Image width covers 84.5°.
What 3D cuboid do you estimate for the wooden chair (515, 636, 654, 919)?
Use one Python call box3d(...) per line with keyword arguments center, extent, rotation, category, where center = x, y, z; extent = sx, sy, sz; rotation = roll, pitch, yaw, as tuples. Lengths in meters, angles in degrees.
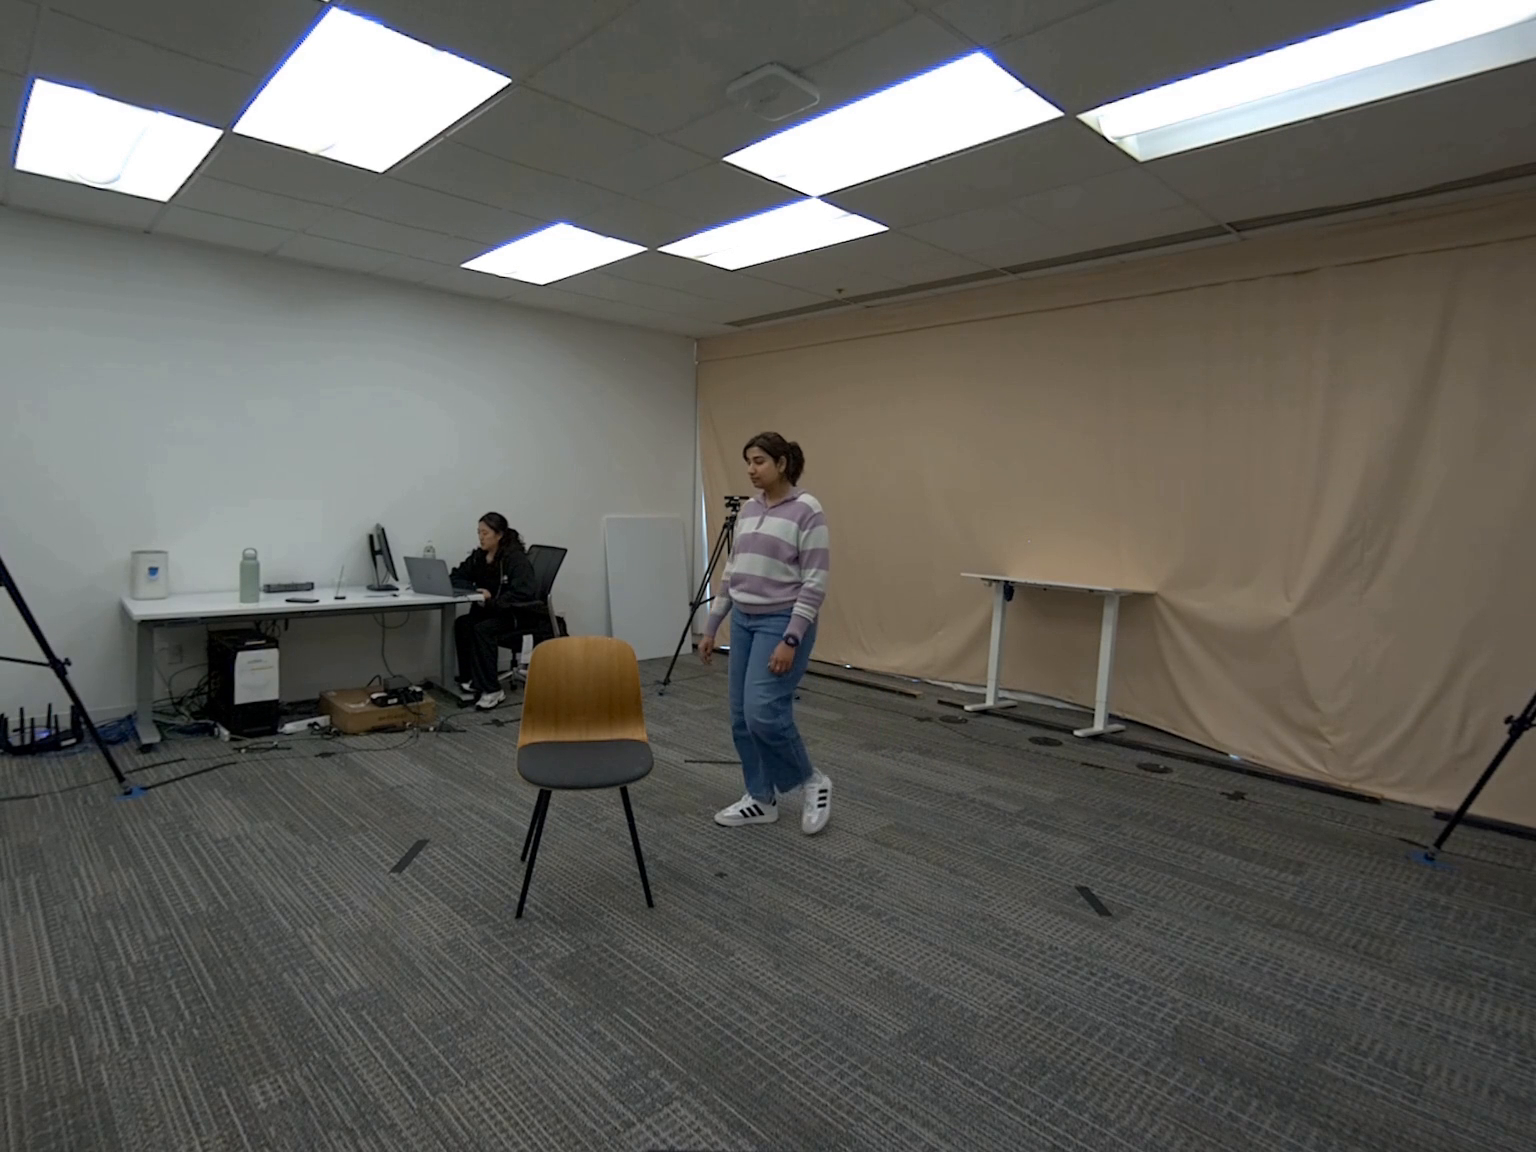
box3d(center=(-0.649, 0.679, 2.971), extent=(0.473, 0.878, 0.529), rotation=(1, -1, -14), category="wooden chair")
